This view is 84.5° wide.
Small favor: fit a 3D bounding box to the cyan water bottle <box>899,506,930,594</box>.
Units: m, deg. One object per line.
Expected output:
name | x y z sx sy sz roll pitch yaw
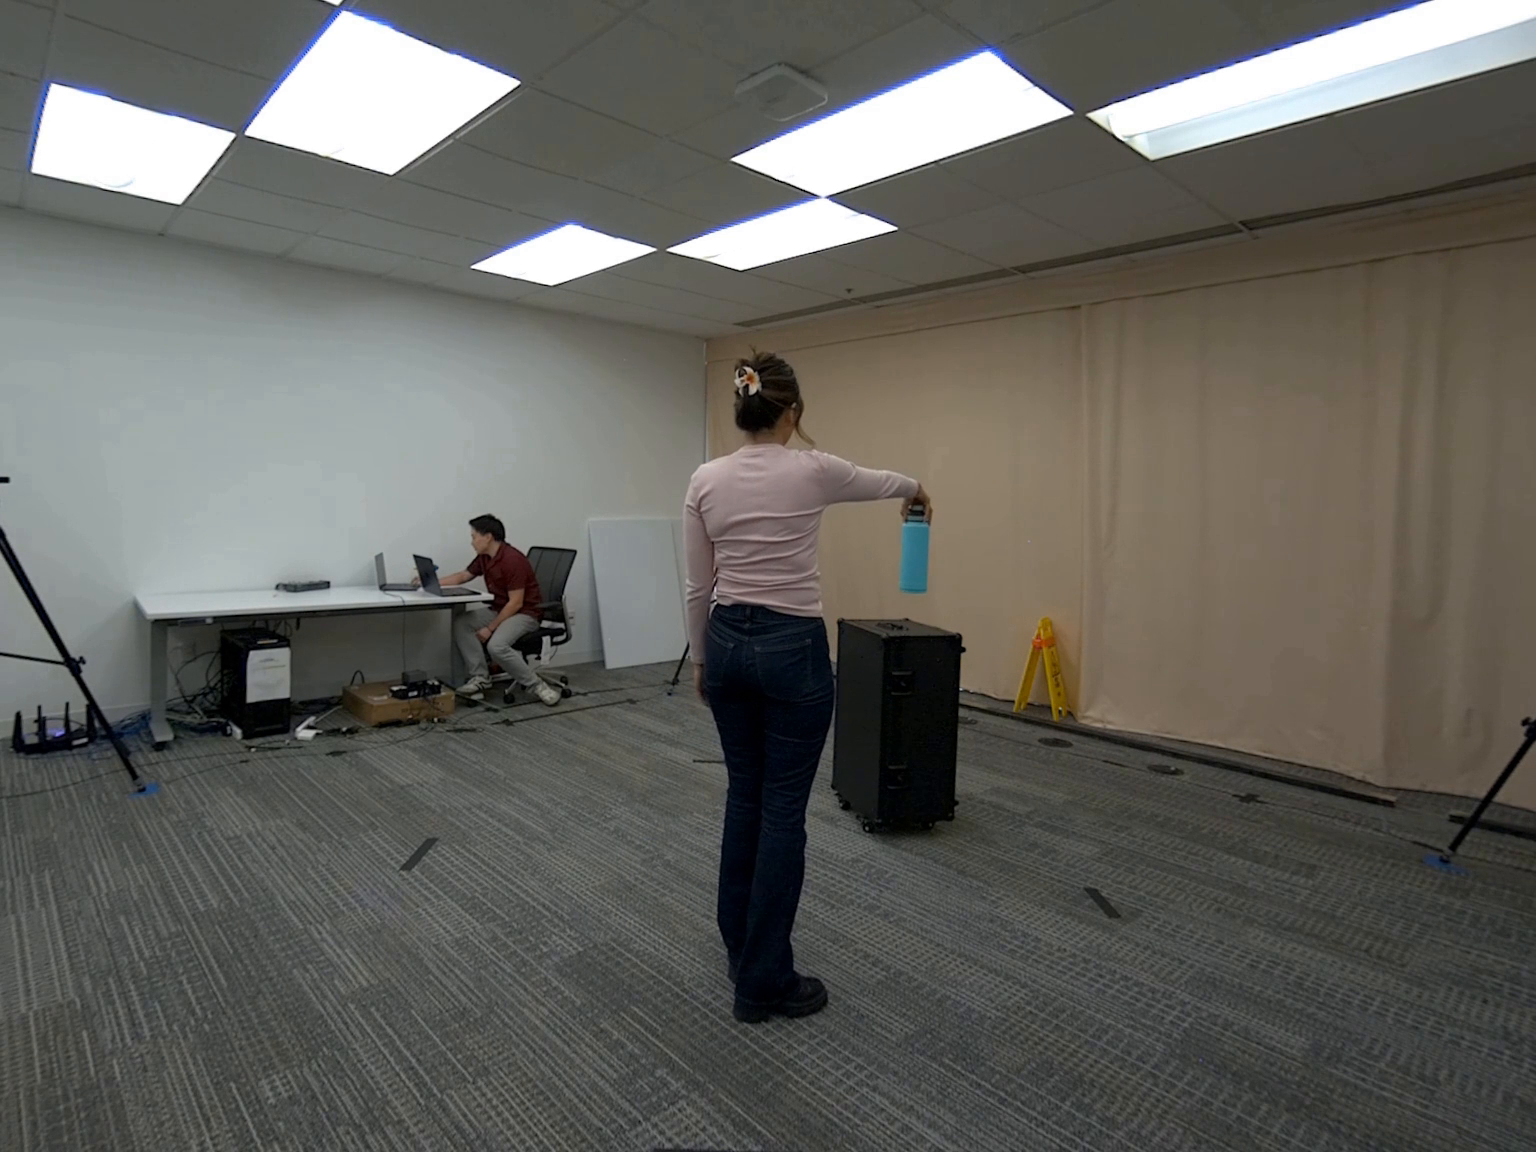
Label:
cyan water bottle | 0.477 -0.090 2.739 0.092 0.283 0.092 1 3 -1
